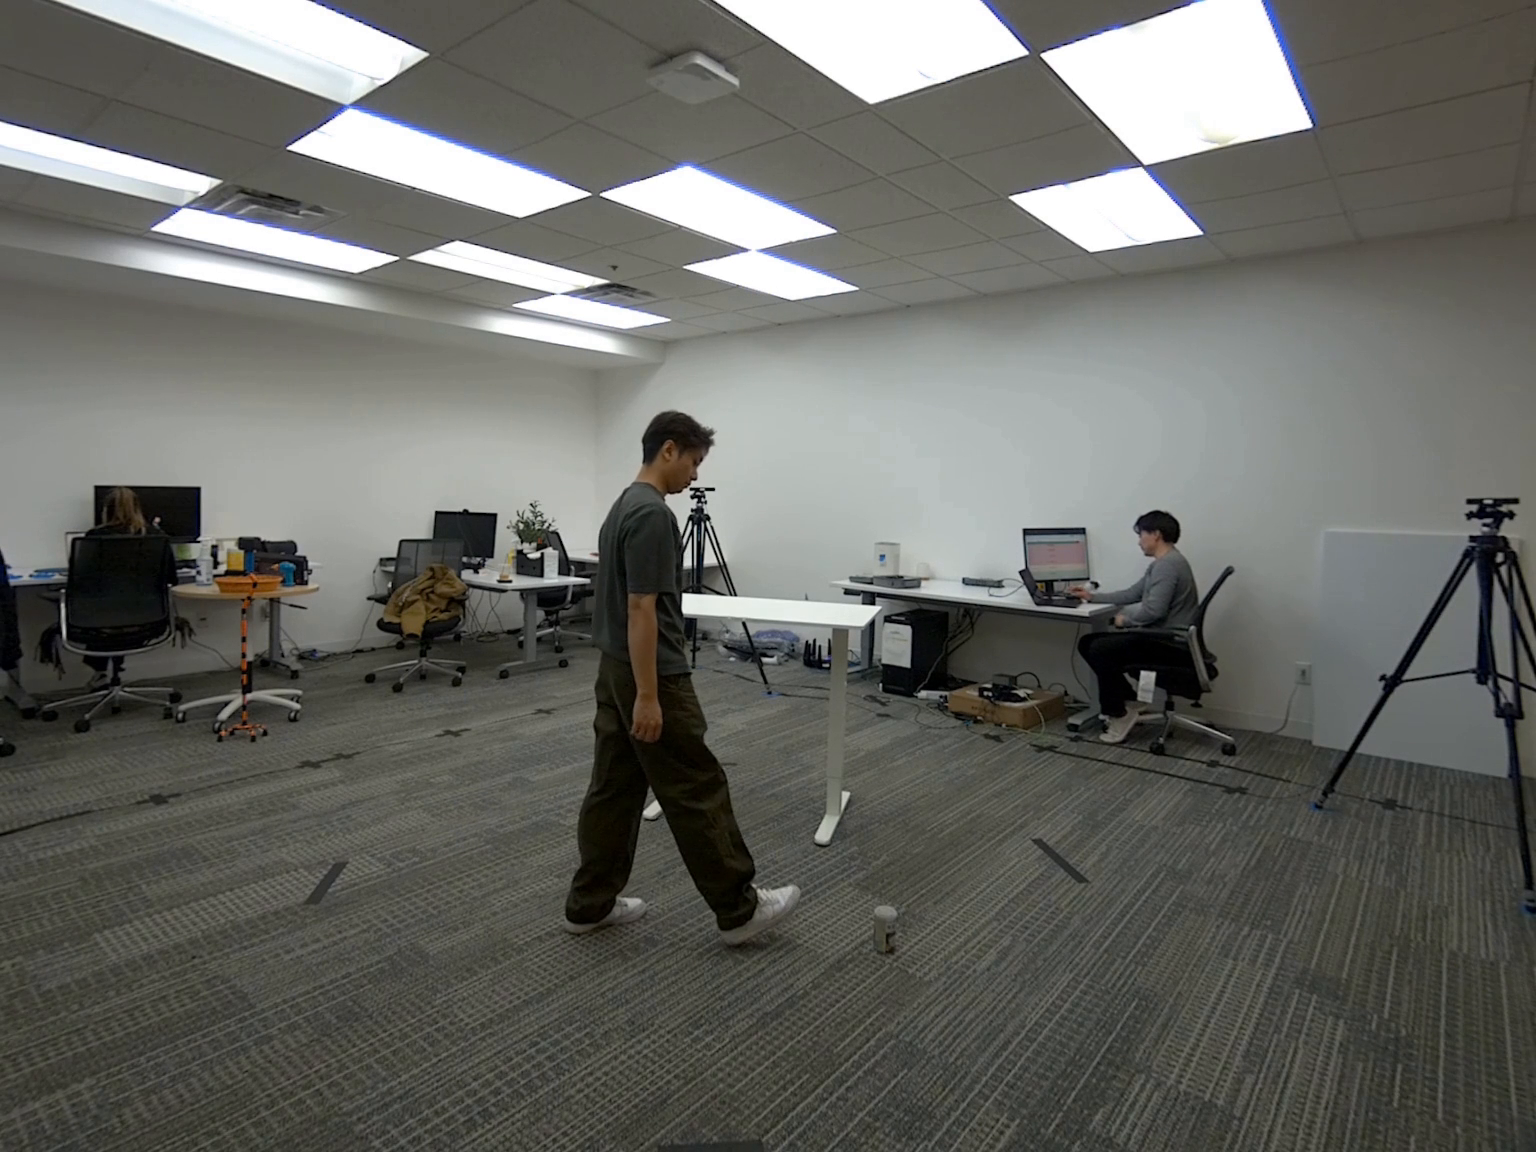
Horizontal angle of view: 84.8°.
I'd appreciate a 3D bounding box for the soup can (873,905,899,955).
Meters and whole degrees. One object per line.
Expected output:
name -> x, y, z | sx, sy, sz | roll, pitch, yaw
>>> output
soup can -> 0.348, 1.078, 2.584 | 0.067, 0.121, 0.067 | 2, 3, -2
